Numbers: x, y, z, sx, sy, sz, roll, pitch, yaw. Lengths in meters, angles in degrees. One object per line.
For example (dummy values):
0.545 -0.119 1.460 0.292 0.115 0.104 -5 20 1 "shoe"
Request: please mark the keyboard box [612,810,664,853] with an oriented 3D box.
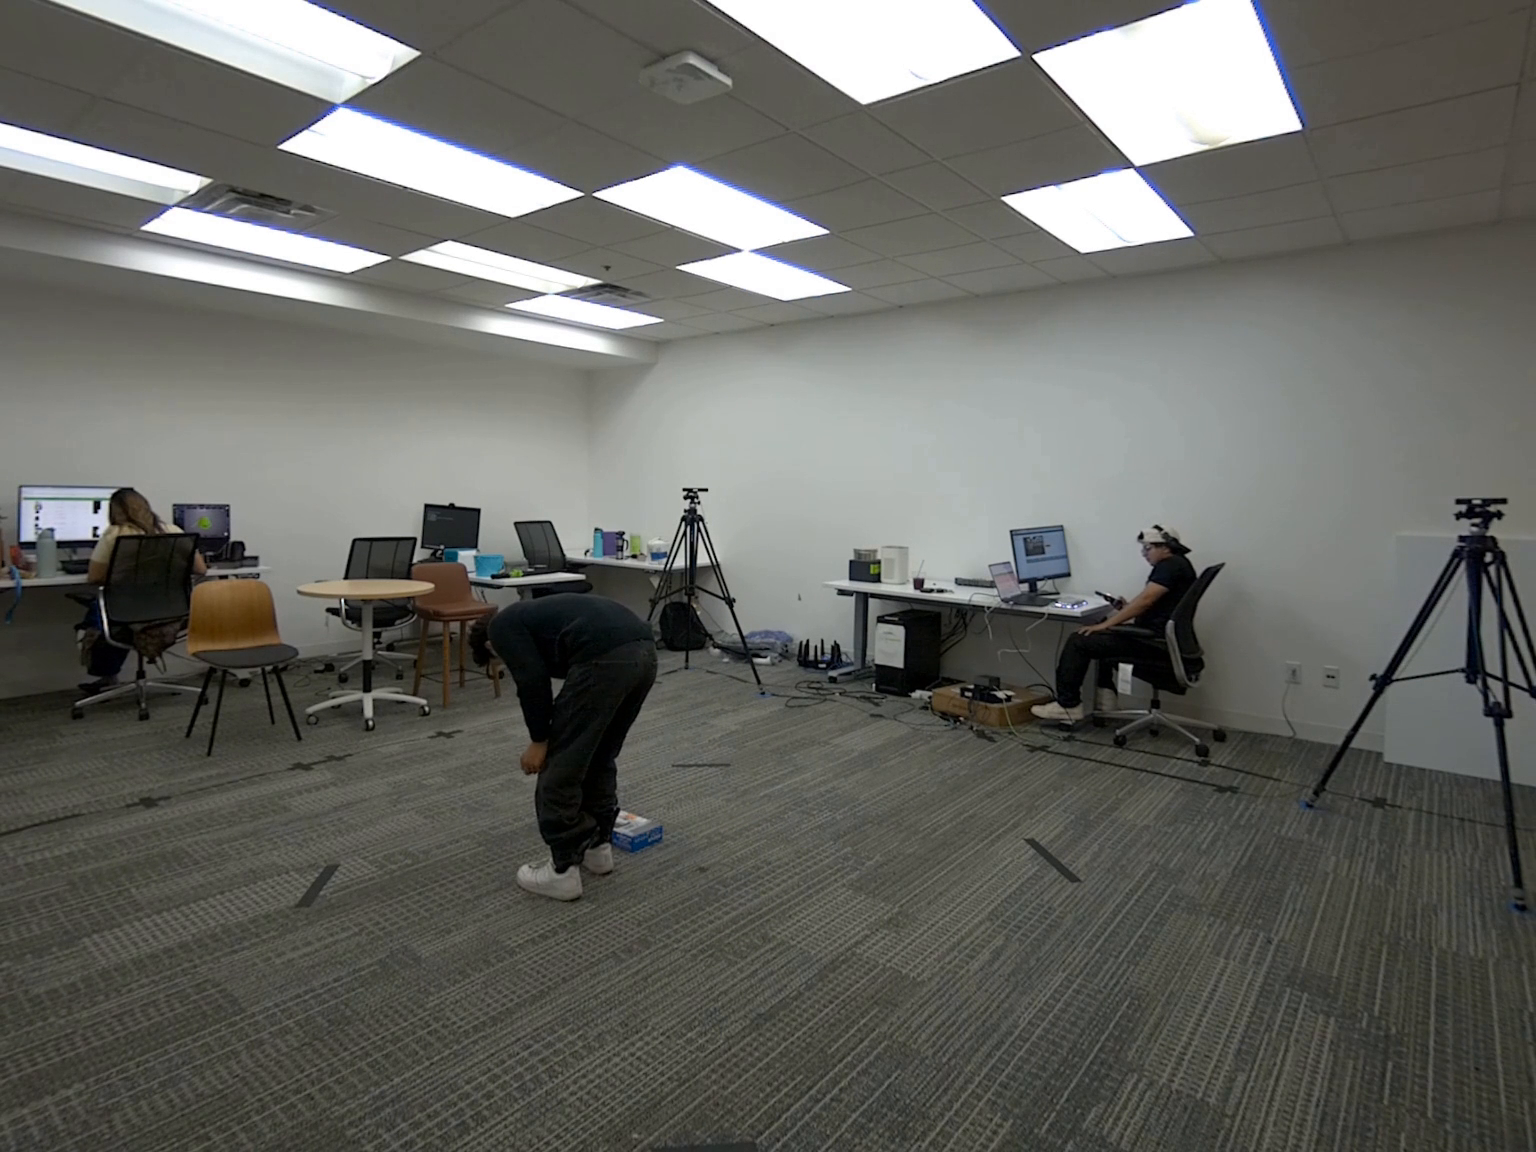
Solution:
-0.651 0.998 3.441 0.451 0.059 0.171 5 6 38 "keyboard box"
